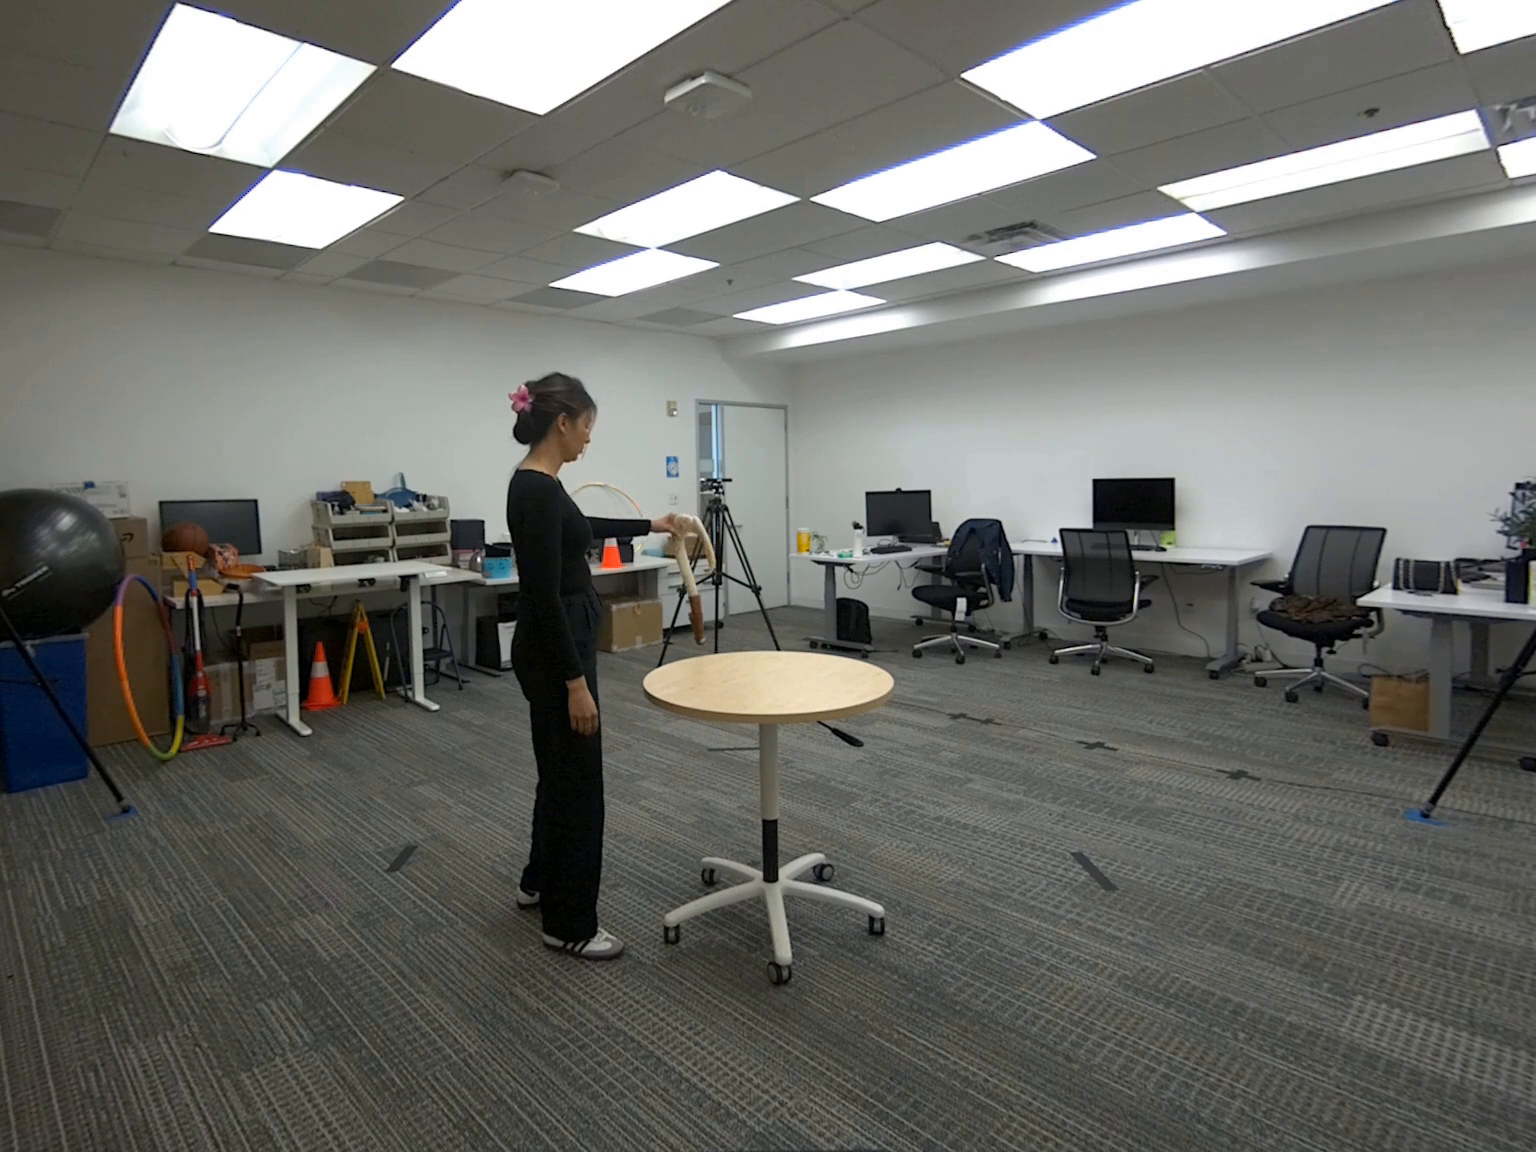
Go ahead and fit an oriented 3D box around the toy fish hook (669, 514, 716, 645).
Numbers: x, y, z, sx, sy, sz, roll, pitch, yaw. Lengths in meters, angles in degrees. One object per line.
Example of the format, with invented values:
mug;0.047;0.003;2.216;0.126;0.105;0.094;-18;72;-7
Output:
toy fish hook;-0.242;0.034;3.026;0.047;0.498;0.232;-16;19;-31
